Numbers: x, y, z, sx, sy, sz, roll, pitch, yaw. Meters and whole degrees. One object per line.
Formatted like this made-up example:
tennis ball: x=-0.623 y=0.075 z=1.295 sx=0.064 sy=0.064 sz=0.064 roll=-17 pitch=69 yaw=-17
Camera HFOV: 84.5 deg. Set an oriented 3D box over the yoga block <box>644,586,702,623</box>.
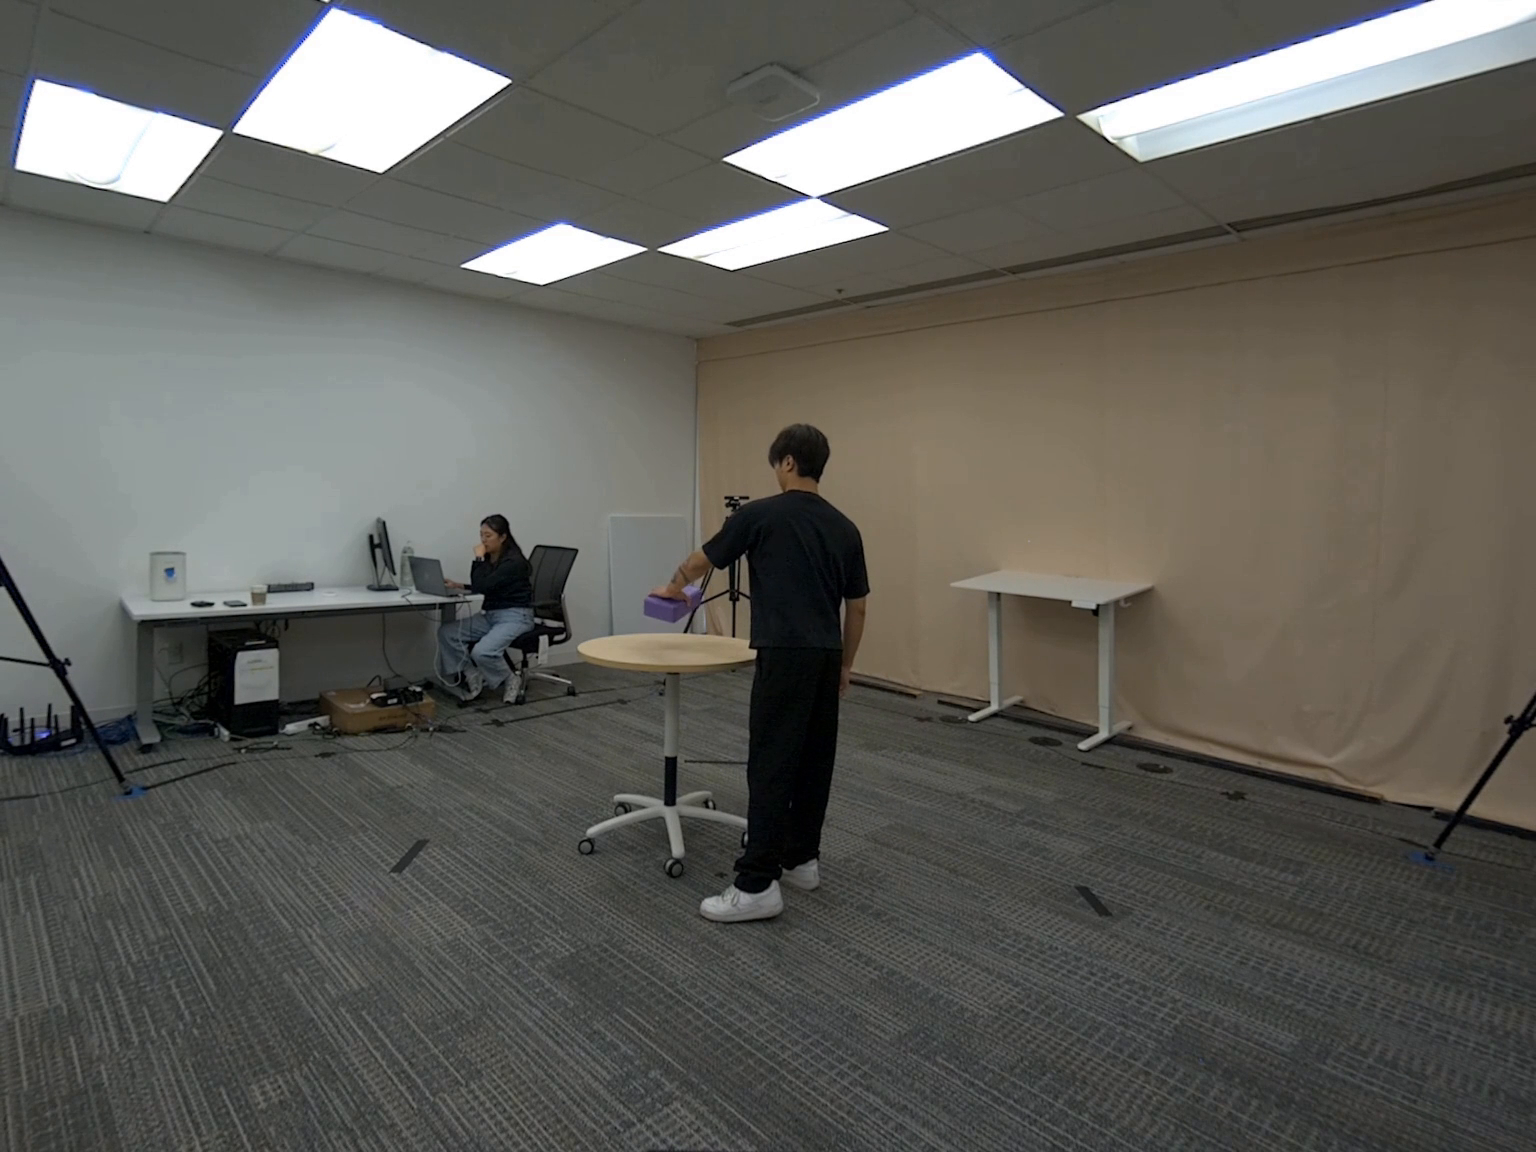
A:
yoga block: x=-0.392 y=0.106 z=3.400 sx=0.152 sy=0.075 sz=0.228 roll=11 pitch=23 yaw=19
